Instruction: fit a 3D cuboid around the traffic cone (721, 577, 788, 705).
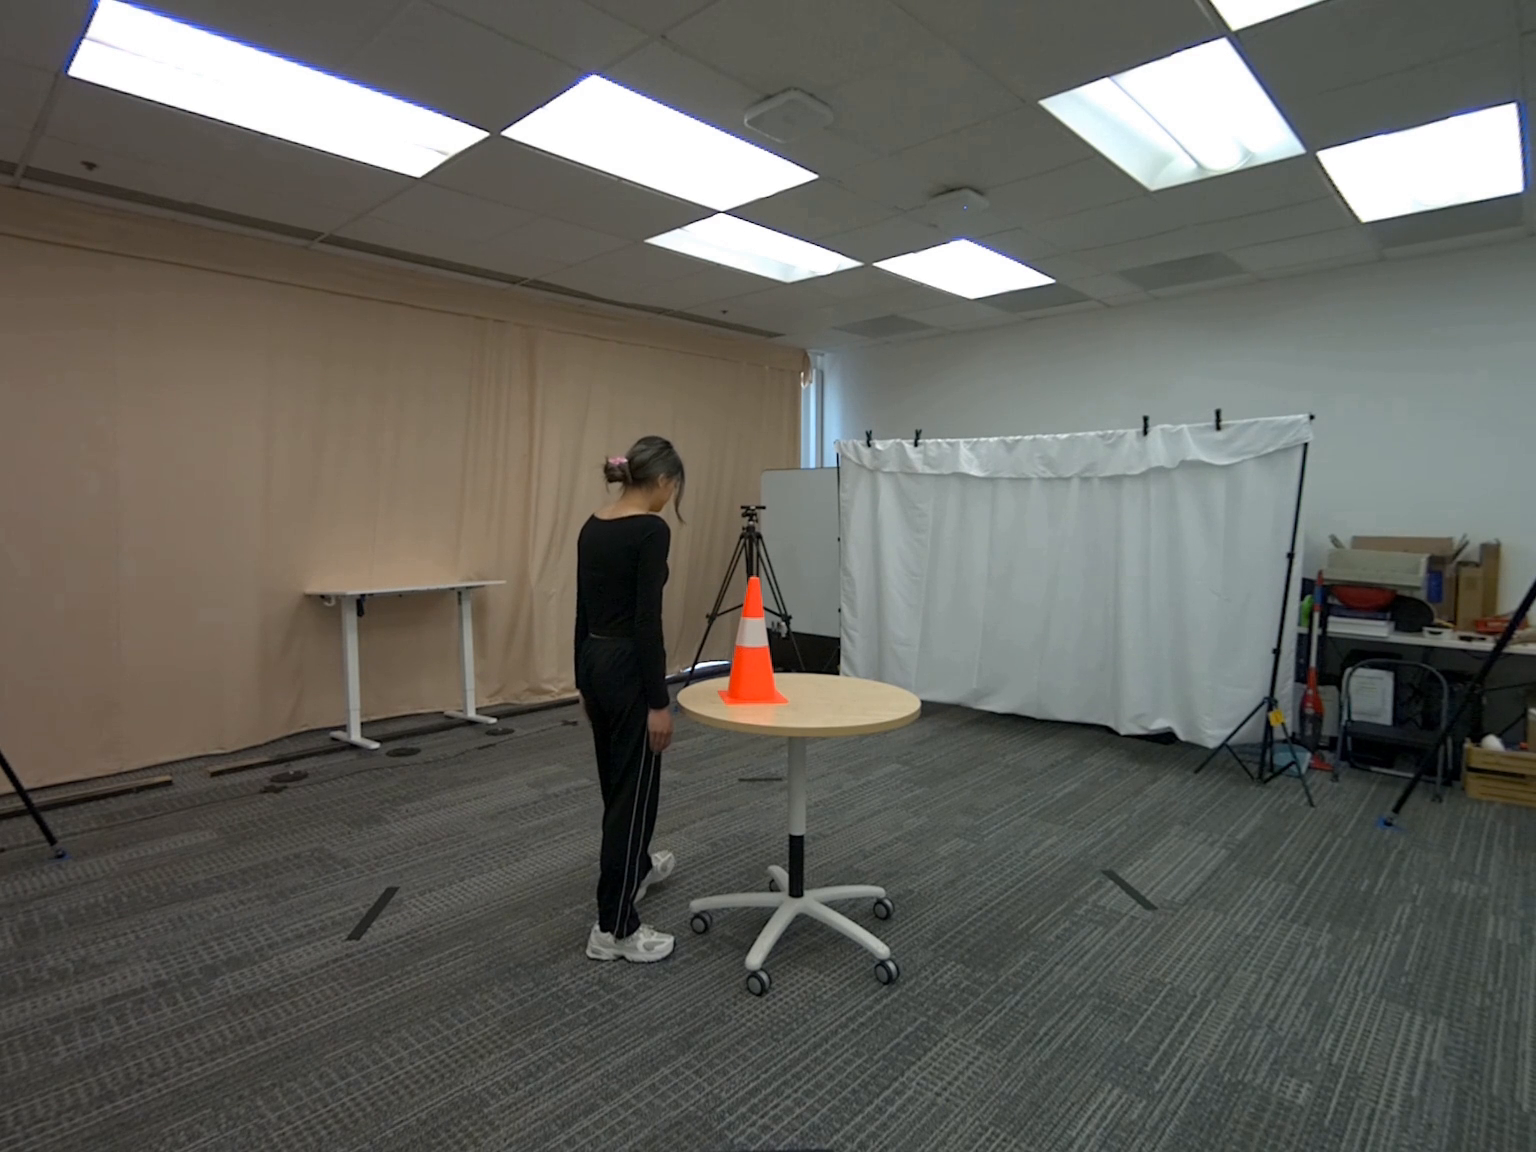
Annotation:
[{"bbox_3d":[-0.048,0.200,2.653,0.201,0.383,0.208,-1,4,-11],"label":"traffic cone"}]
